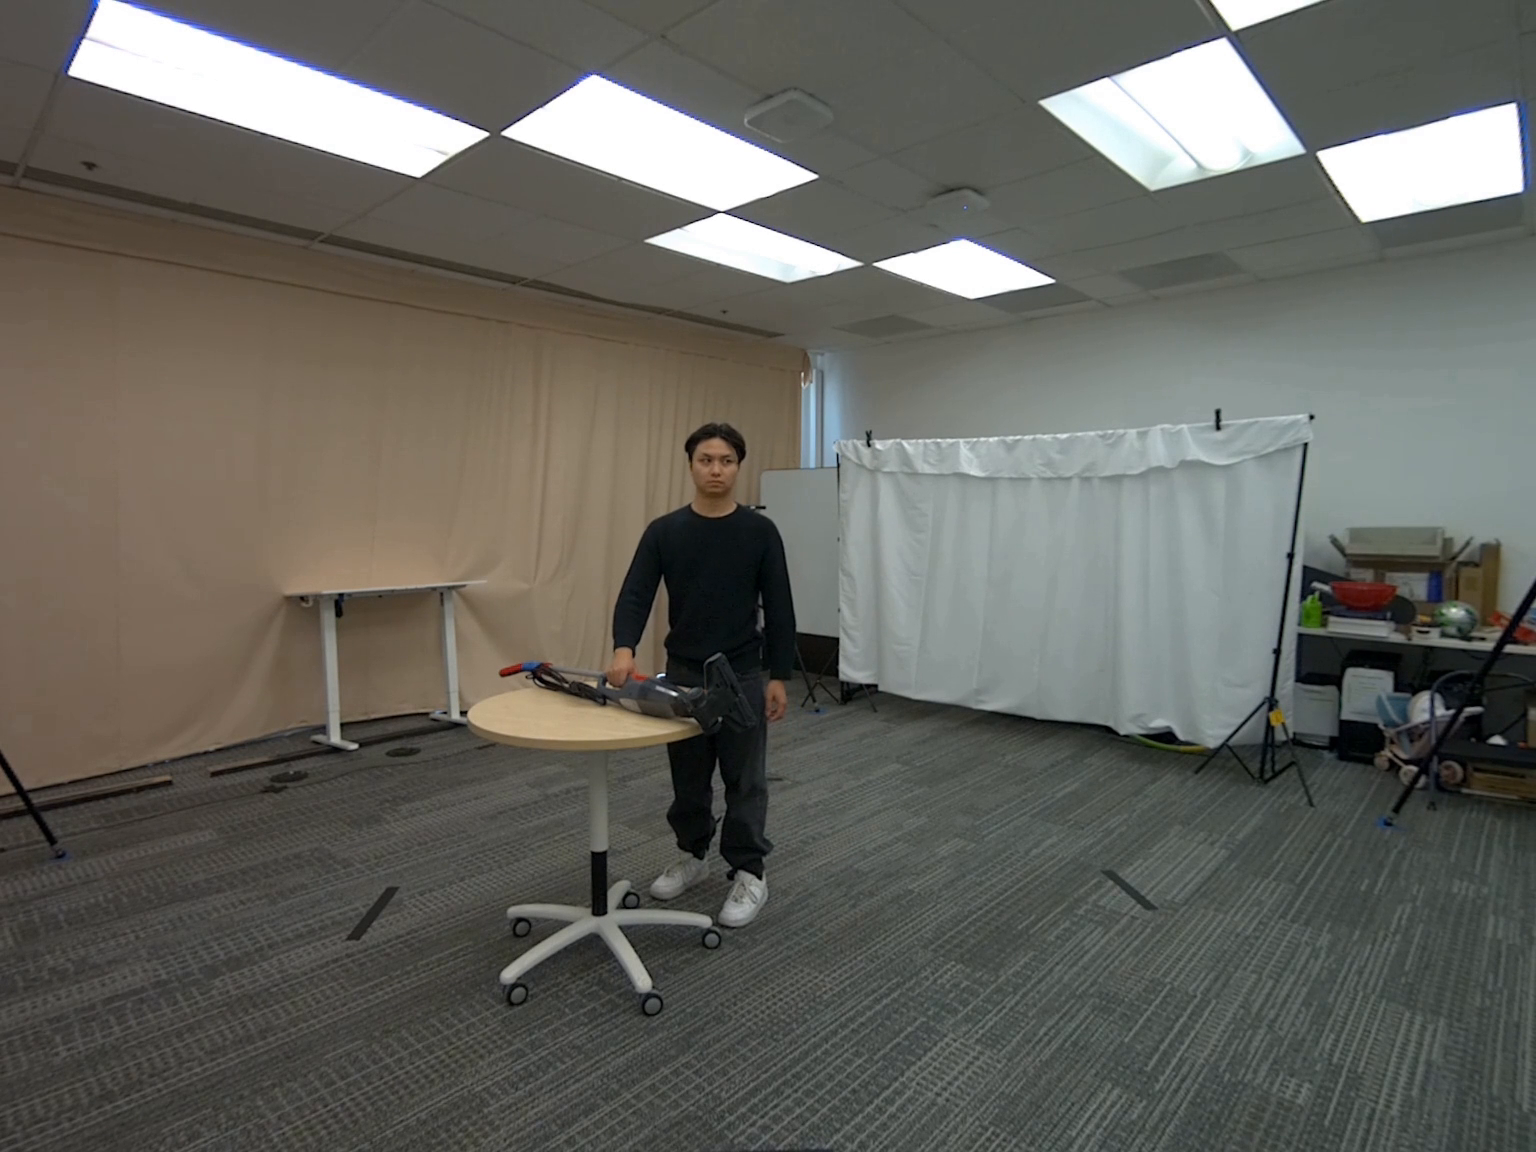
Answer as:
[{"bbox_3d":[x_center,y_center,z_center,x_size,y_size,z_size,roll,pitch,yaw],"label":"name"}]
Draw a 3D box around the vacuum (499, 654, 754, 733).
[{"bbox_3d":[-0.537,0.350,2.668,1.083,0.246,0.143,0,36,40],"label":"vacuum"}]
